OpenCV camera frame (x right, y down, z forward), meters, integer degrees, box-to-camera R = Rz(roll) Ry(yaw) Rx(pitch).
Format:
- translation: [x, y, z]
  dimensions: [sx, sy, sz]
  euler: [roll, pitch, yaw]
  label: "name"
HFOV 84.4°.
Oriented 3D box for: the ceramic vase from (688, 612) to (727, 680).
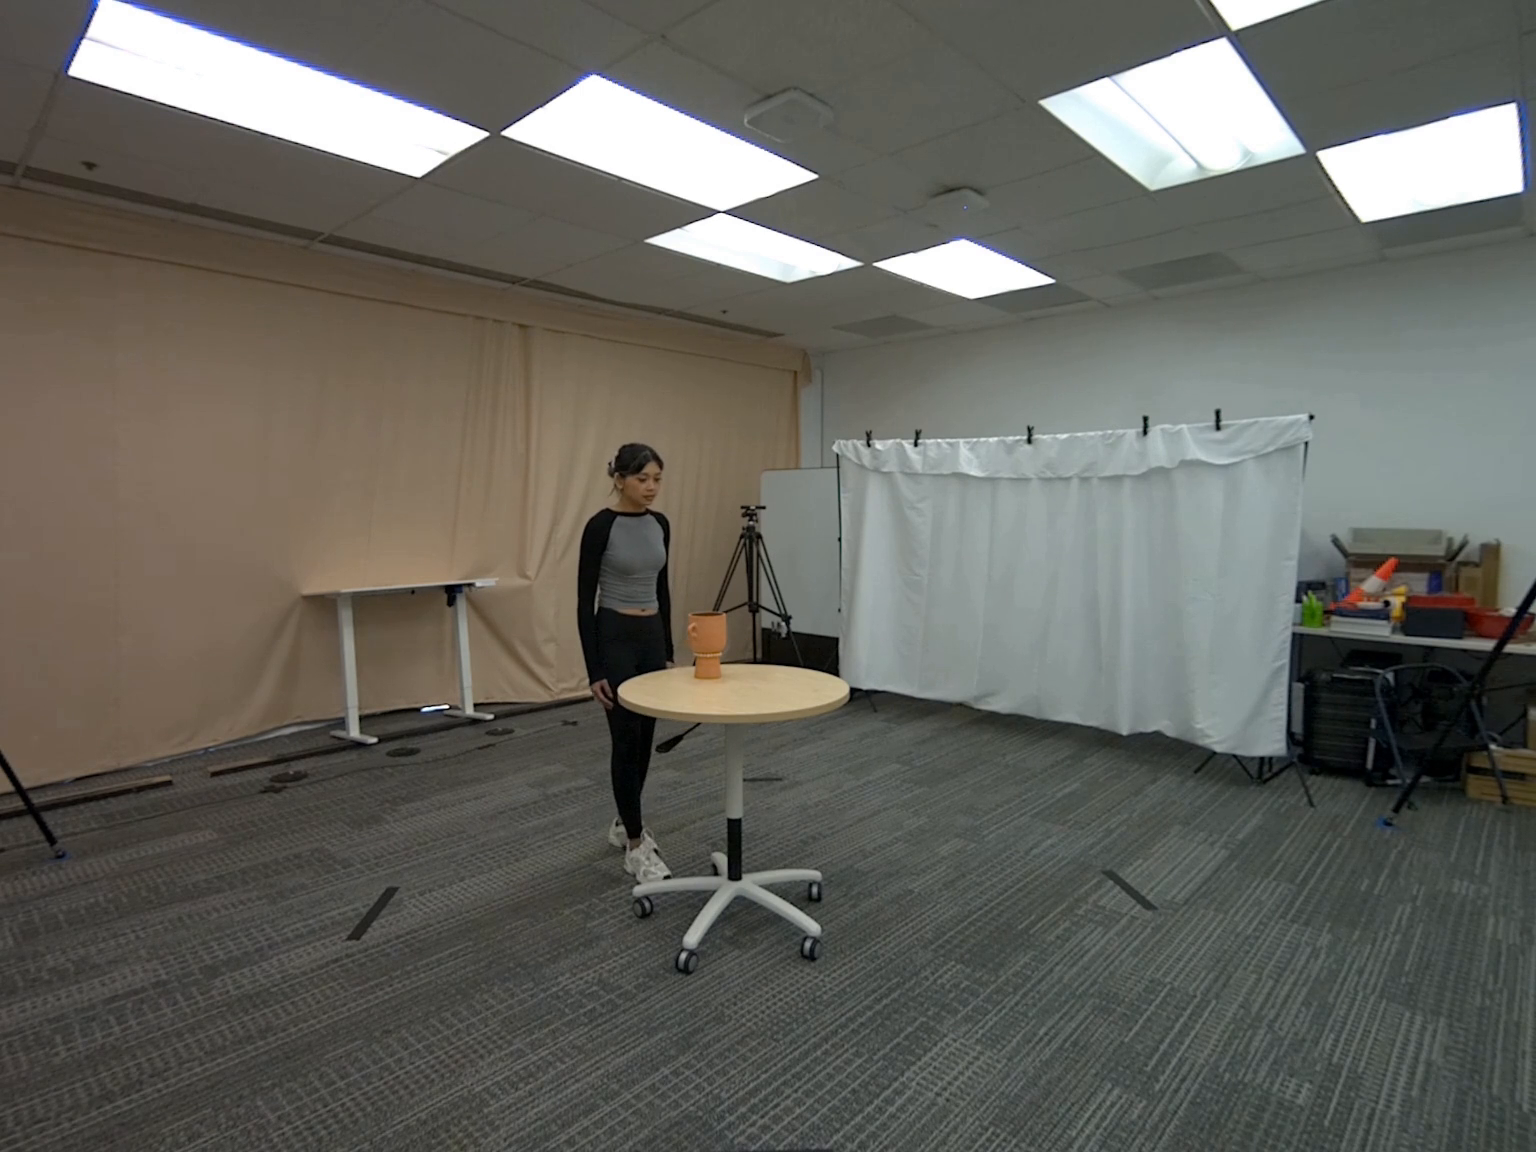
- translation: [-0.212, 0.246, 2.955]
  dimensions: [0.157, 0.219, 0.136]
  euler: [-1, 4, -11]
  label: "ceramic vase"
